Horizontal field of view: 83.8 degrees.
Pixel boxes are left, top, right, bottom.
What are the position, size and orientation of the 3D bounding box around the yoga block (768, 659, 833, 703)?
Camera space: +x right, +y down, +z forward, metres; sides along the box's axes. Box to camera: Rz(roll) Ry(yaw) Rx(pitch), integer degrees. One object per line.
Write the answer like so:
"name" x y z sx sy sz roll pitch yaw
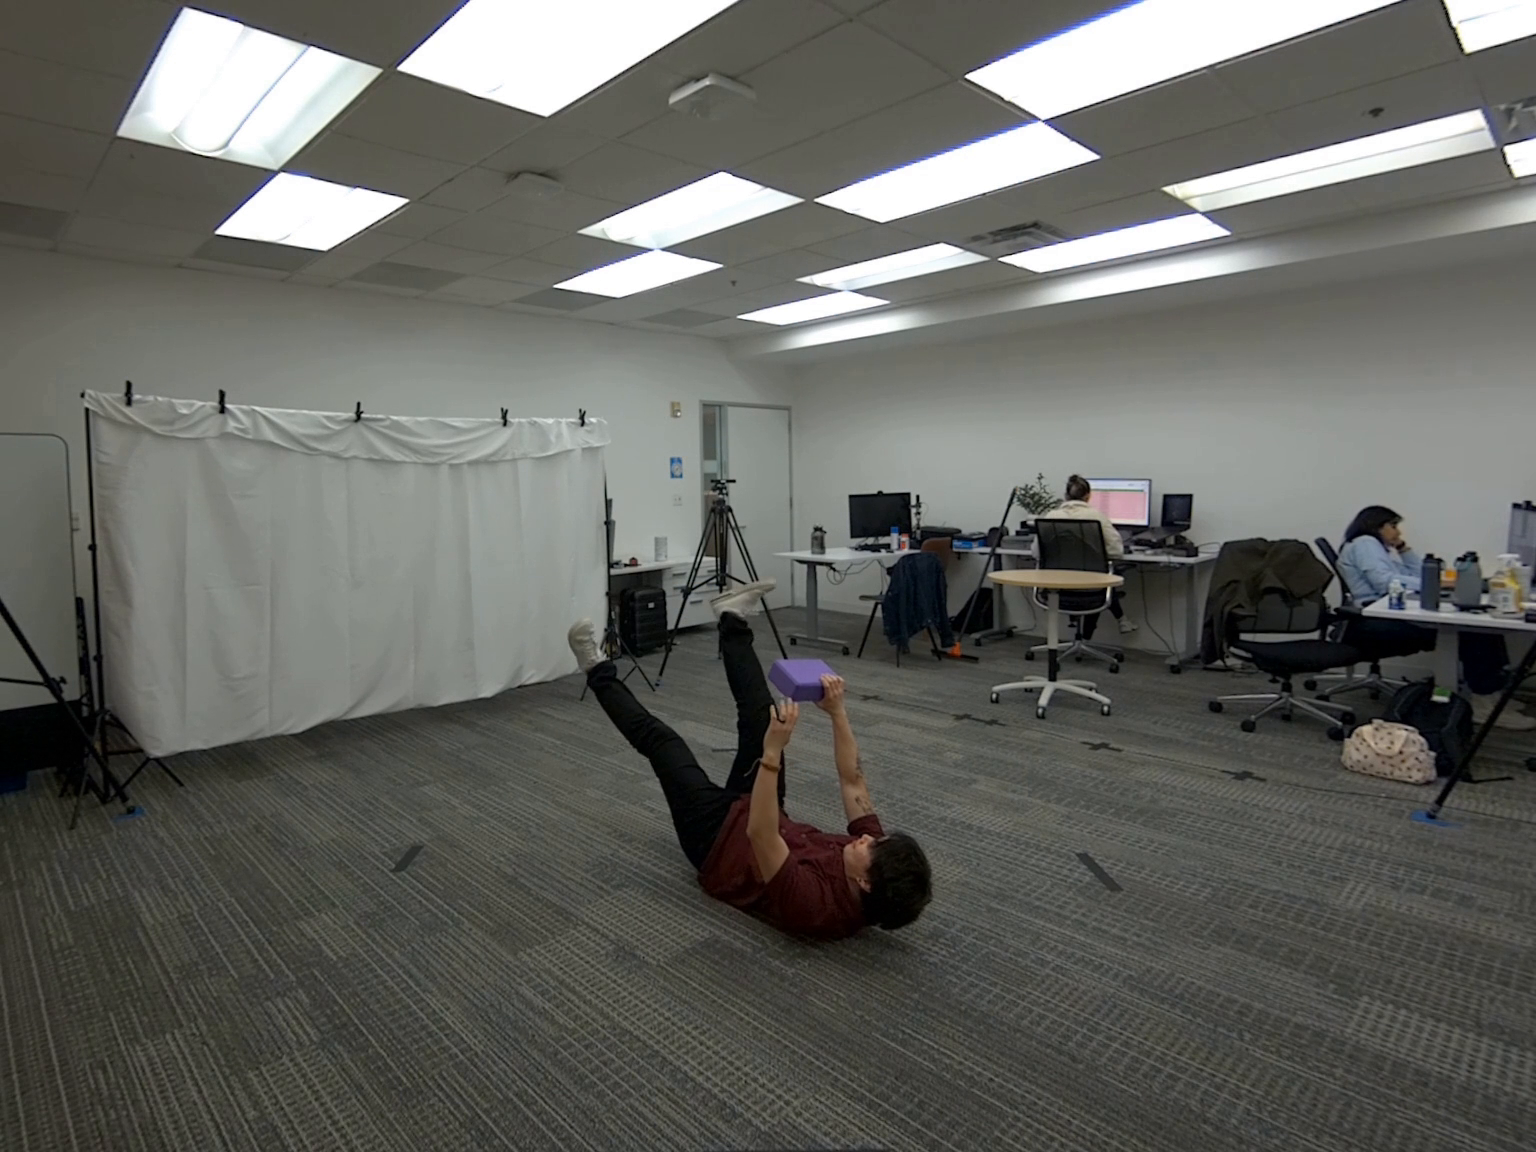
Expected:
"yoga block" 0.129 0.355 2.915 0.222 0.076 0.155 5 26 -38
